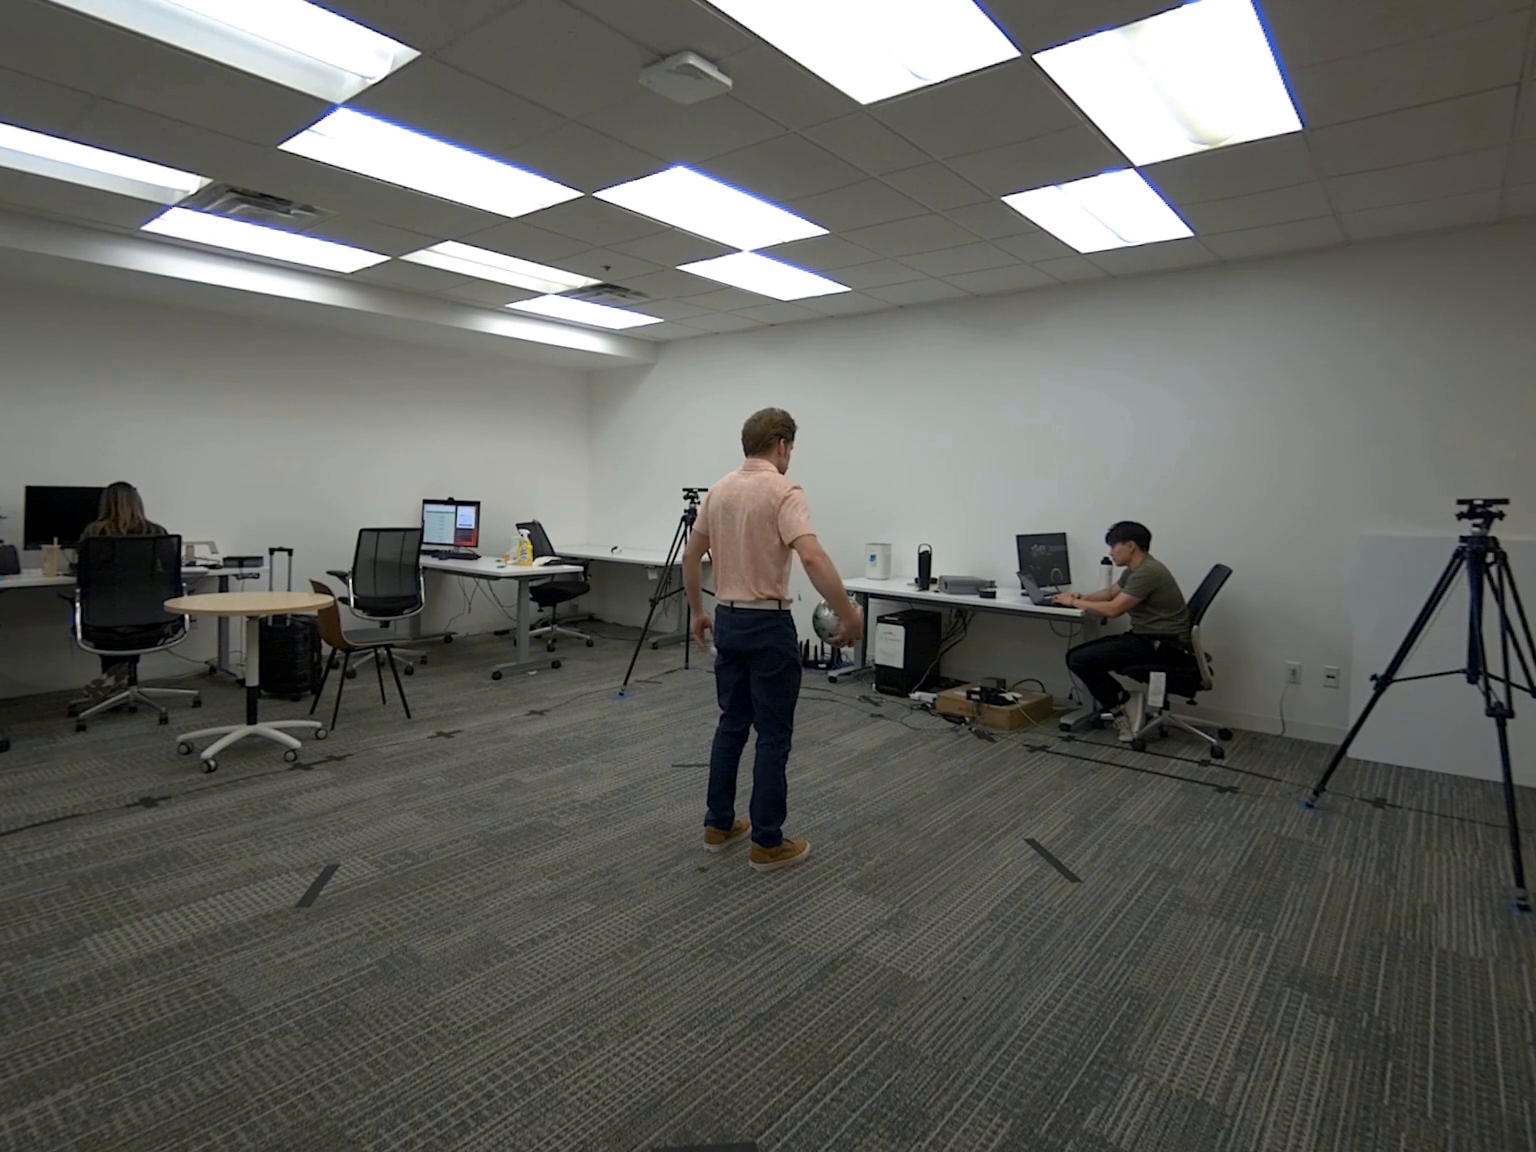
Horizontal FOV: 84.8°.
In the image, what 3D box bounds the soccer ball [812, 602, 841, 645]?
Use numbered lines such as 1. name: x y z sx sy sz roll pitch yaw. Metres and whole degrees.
1. soccer ball: 0.223 0.151 3.099 0.187 0.187 0.188 1 4 -2
